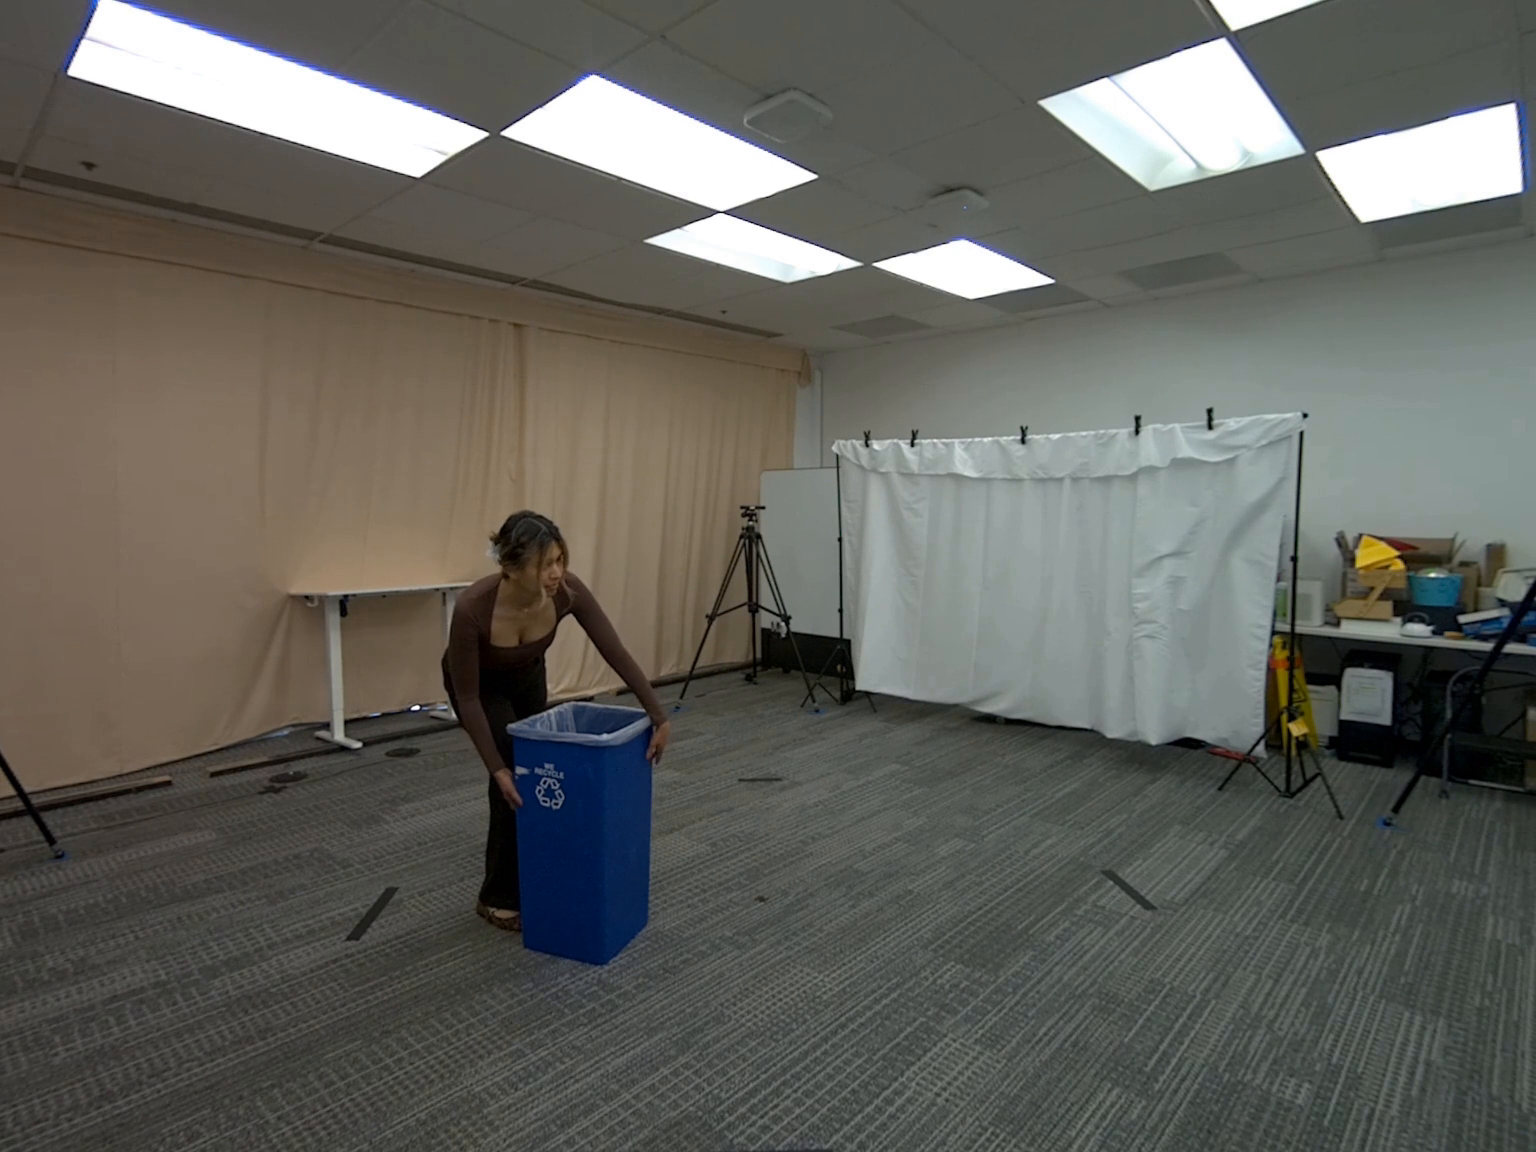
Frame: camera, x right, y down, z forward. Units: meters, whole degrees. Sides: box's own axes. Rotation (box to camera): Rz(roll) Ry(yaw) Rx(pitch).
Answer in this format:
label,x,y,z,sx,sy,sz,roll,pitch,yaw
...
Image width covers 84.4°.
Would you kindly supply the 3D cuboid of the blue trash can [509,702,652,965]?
label,x,y,z,sx,sy,sz,roll,pitch,yaw
blue trash can,-0.581,0.813,2.718,0.383,0.712,0.370,1,4,22
